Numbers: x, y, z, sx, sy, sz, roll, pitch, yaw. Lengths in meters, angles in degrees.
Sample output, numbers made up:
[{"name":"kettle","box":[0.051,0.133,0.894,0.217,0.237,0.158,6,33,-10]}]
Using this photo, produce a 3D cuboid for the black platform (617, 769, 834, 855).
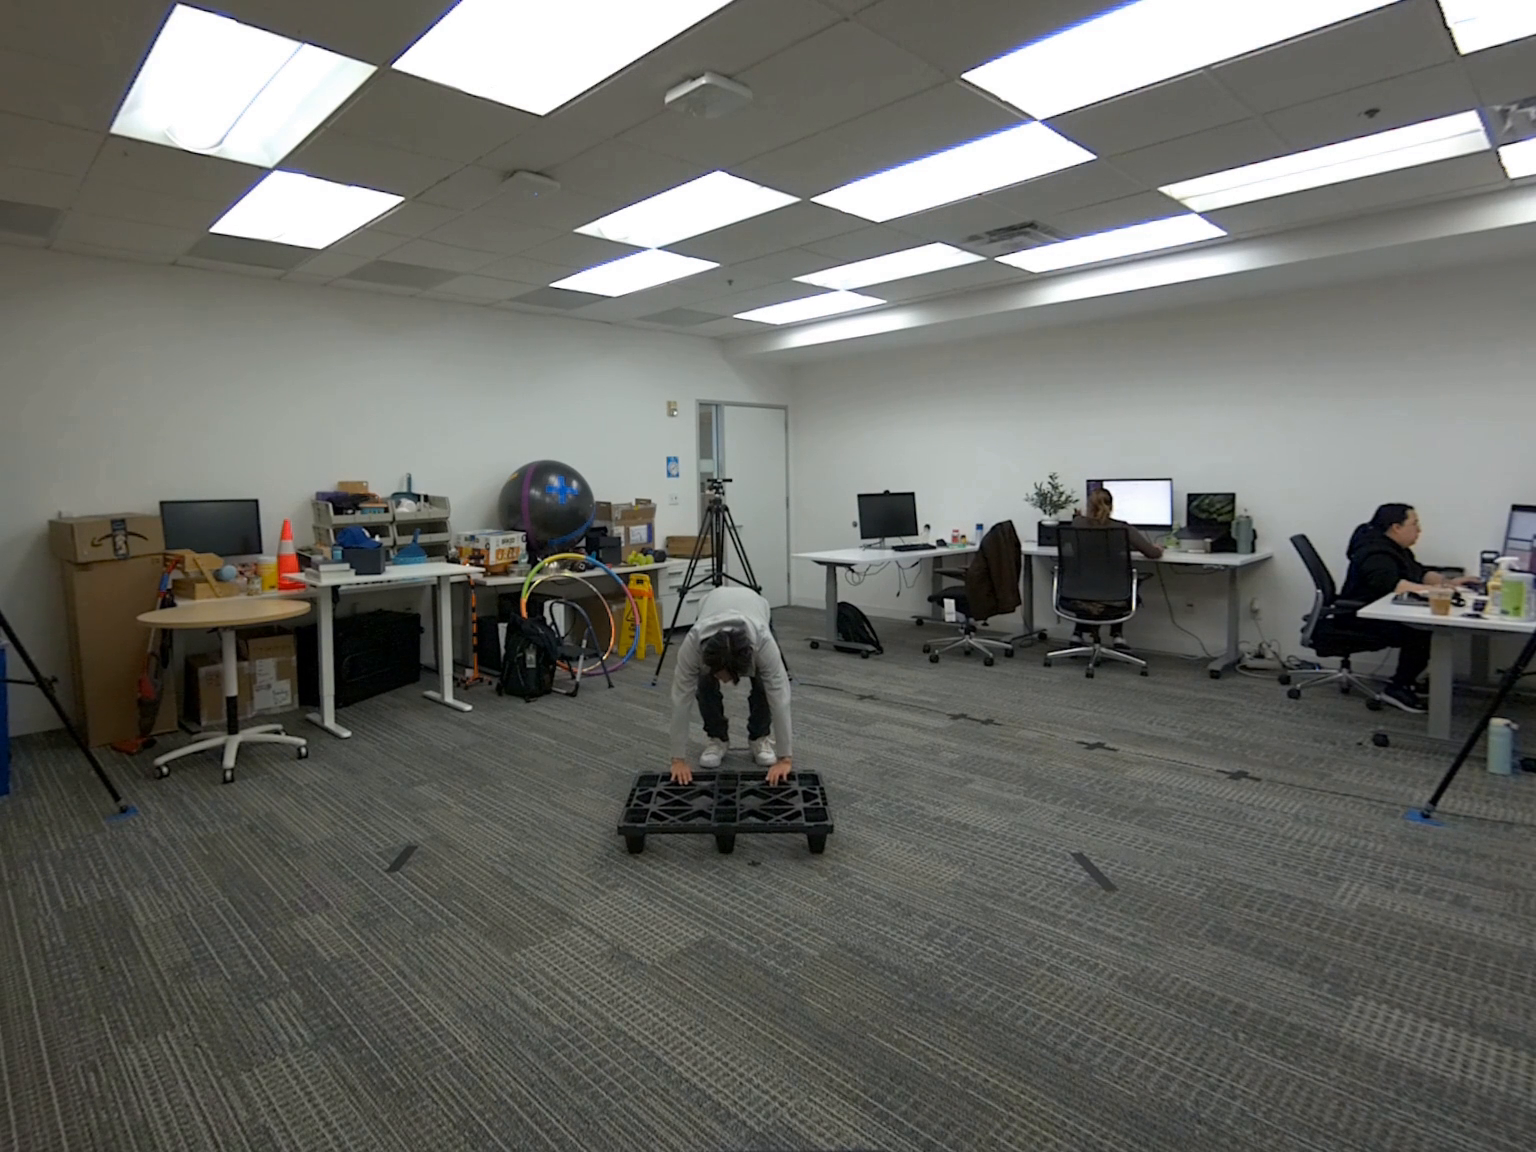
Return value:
[{"name":"black platform","box":[-0.159,0.941,3.419,0.807,0.142,0.607,-1,6,1]}]
